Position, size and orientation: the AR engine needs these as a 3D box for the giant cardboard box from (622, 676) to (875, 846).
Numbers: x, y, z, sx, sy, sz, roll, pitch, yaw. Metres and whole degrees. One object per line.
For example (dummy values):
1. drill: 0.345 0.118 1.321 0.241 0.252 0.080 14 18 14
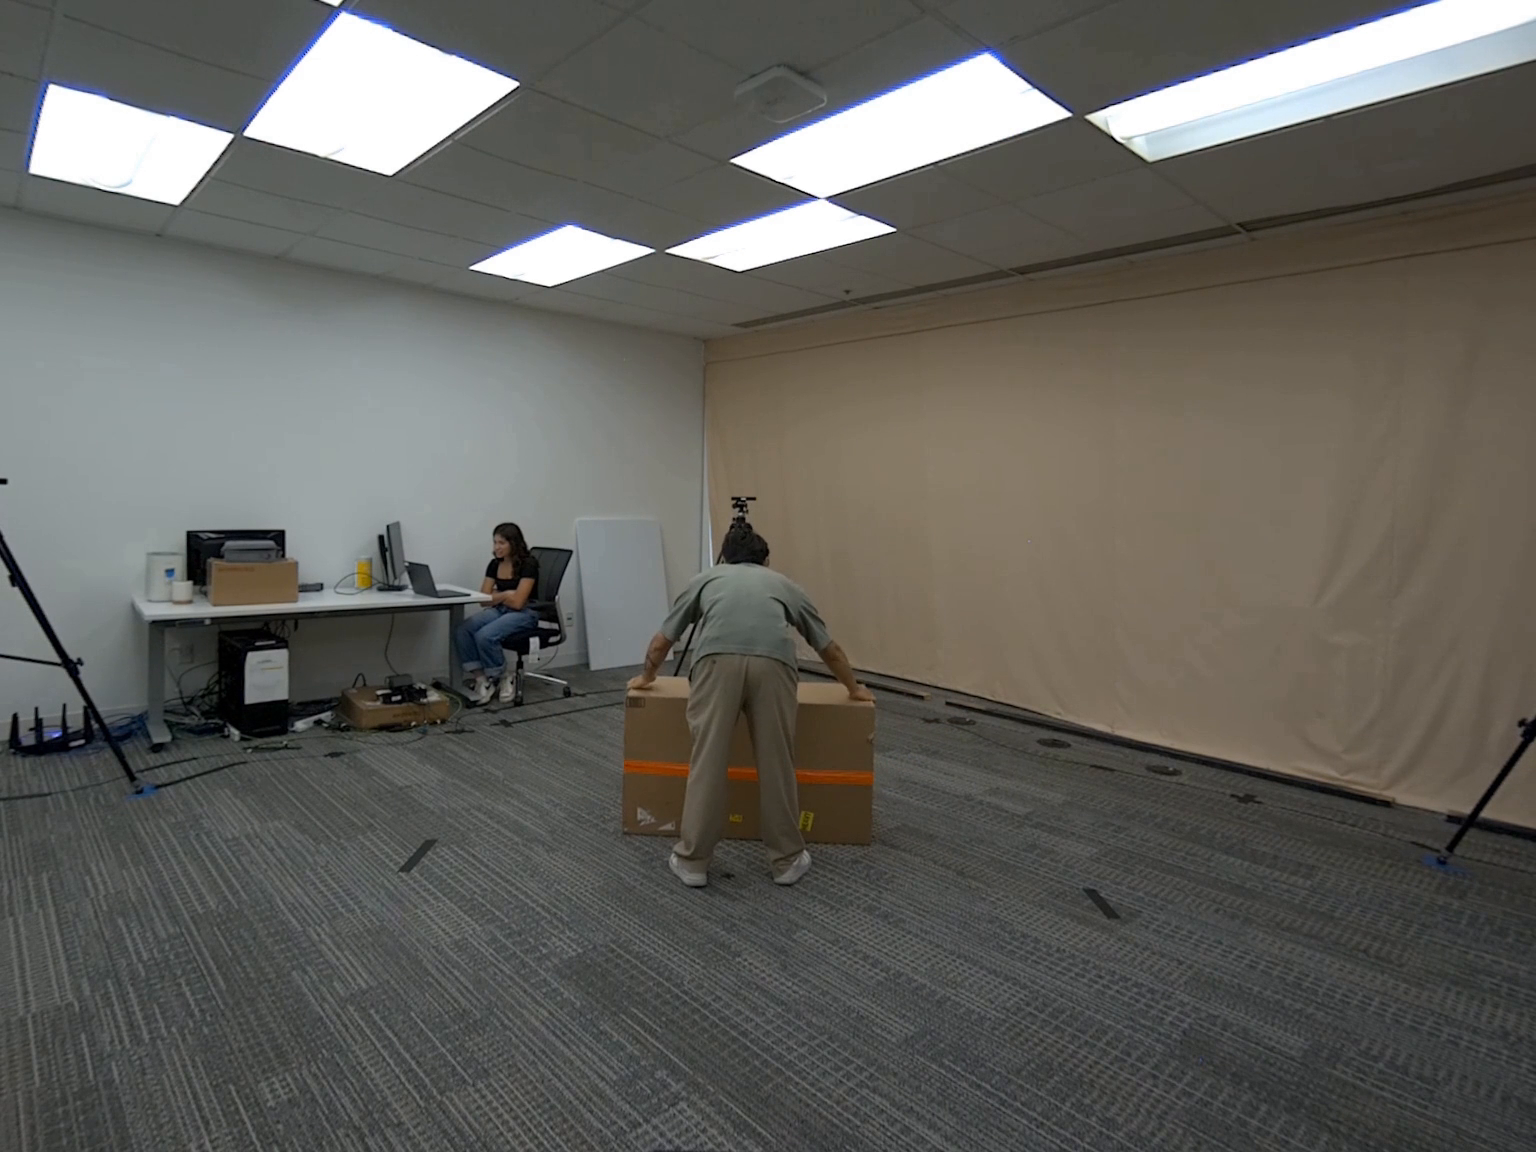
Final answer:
1. giant cardboard box: -0.090 0.766 3.636 1.027 0.576 0.427 2 4 2
